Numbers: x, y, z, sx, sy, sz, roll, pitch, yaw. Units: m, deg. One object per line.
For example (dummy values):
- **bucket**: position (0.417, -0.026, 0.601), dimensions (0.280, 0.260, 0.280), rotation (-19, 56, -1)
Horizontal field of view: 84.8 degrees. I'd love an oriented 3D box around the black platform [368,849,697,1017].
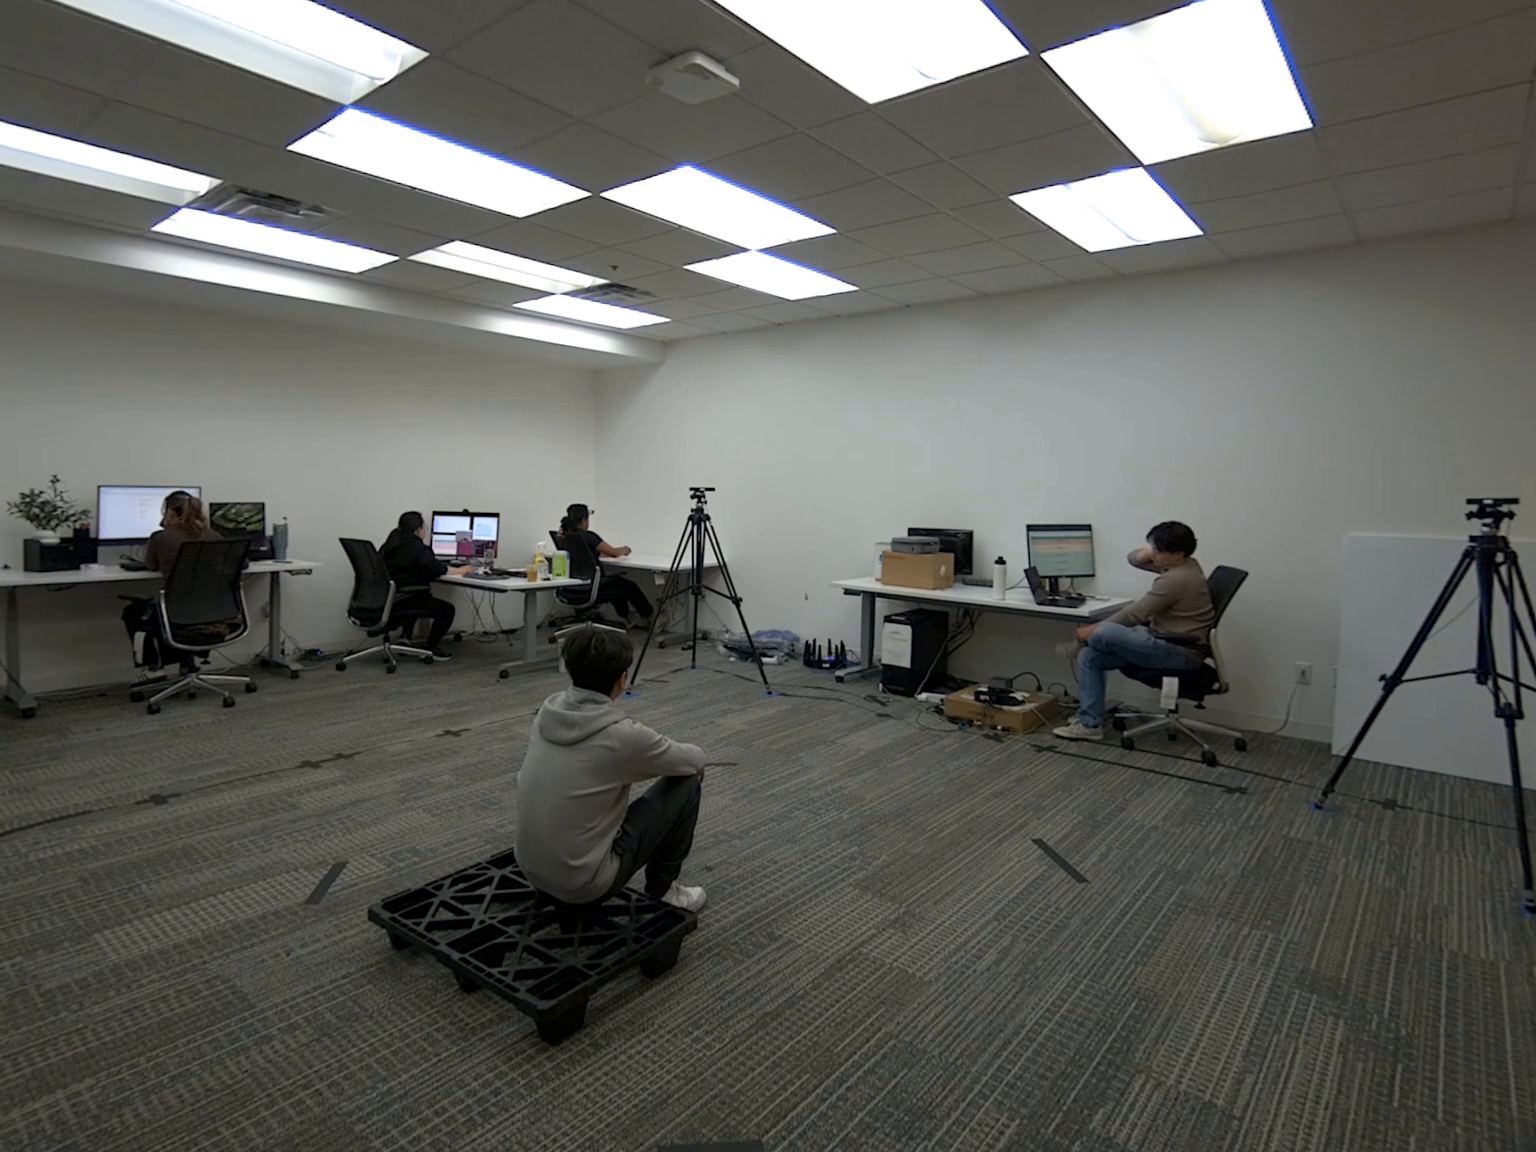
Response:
- **black platform**: position (-0.706, 1.051, 2.518), dimensions (0.832, 0.143, 0.588), rotation (5, 6, 36)
